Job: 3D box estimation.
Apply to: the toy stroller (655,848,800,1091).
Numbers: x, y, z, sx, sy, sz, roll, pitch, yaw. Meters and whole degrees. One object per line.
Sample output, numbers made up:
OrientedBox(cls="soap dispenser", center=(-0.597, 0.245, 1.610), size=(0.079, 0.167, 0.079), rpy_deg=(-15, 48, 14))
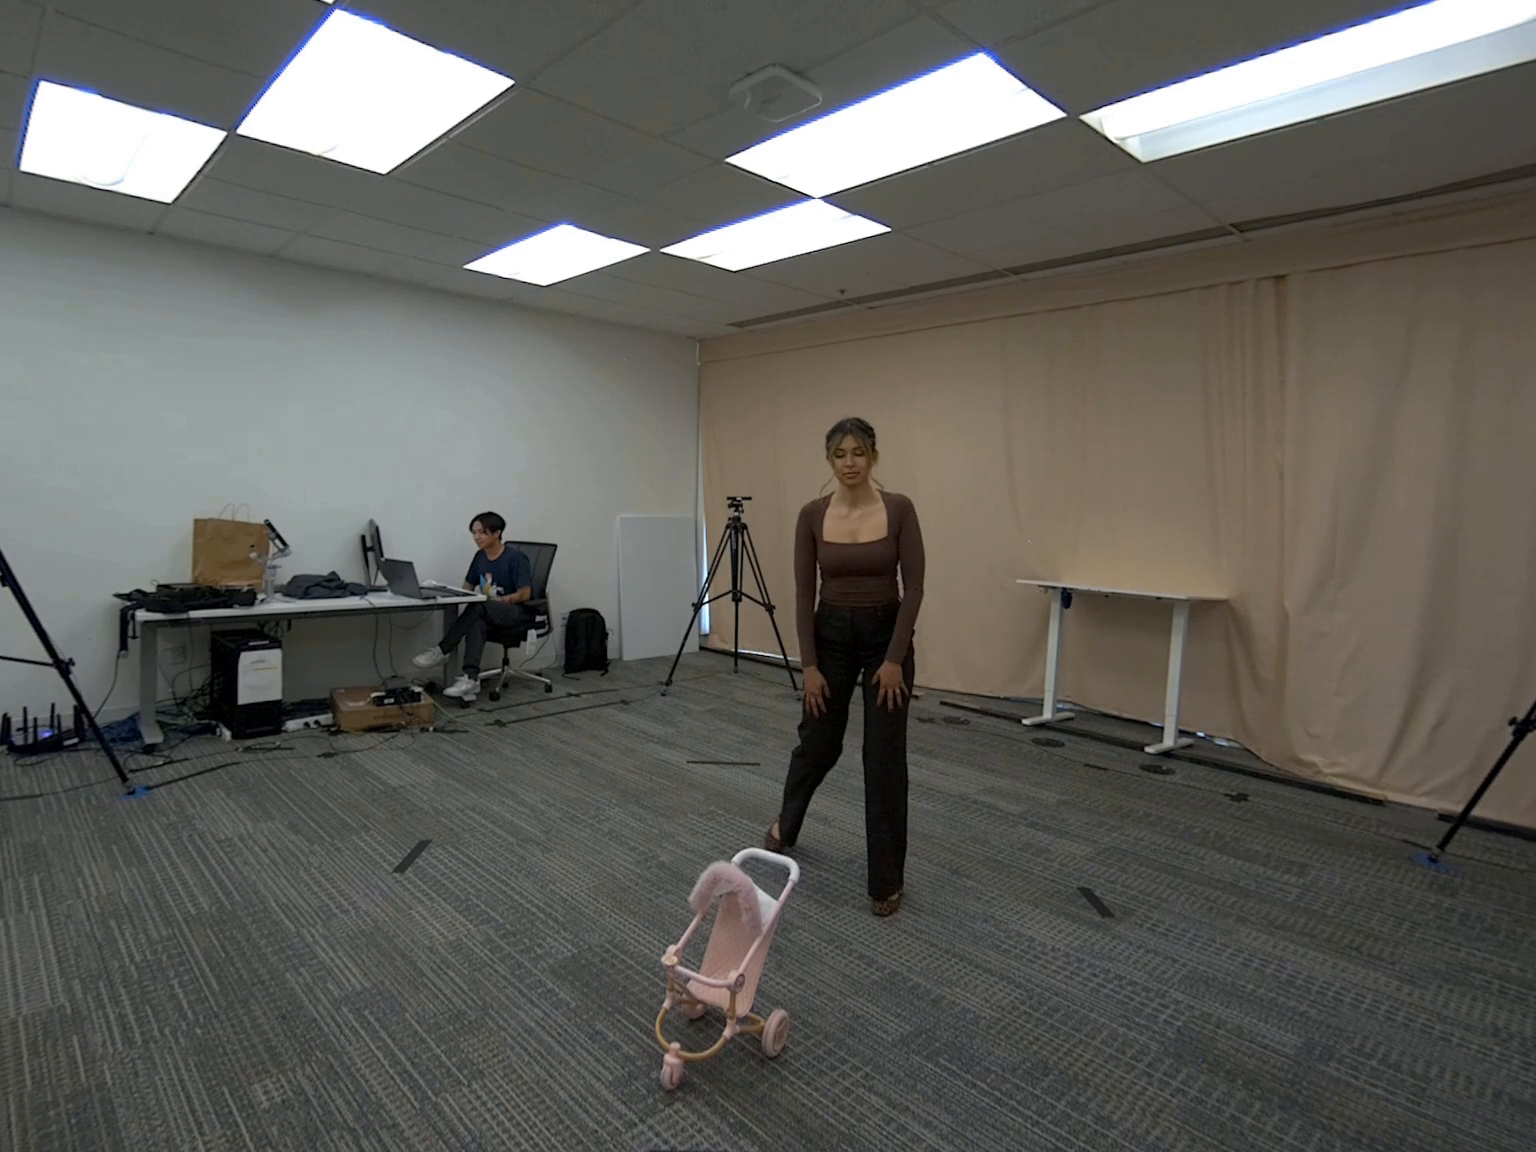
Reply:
OrientedBox(cls="toy stroller", center=(-0.121, 0.977, 2.120), size=(0.288, 0.538, 0.331), rpy_deg=(4, -13, 38))
